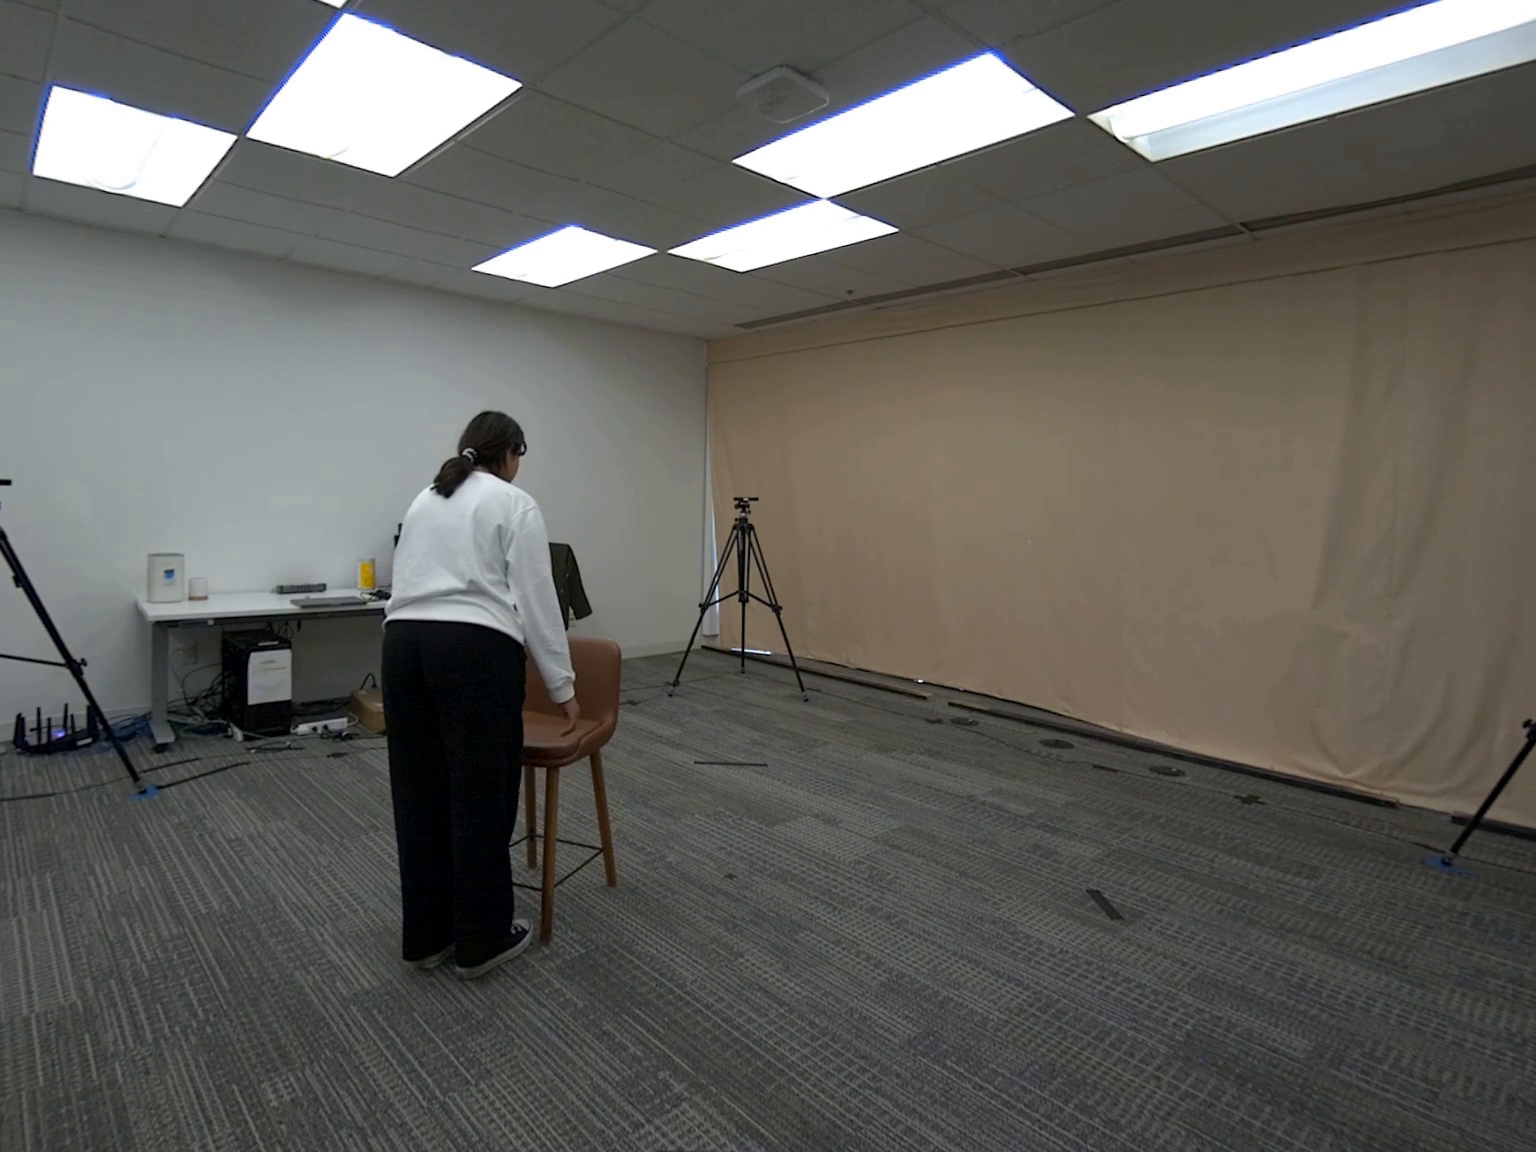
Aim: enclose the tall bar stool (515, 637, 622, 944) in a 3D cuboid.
[{"bbox_3d":[-0.784,0.681,2.863,0.465,0.888,0.460,3,3,24],"label":"tall bar stool"}]
